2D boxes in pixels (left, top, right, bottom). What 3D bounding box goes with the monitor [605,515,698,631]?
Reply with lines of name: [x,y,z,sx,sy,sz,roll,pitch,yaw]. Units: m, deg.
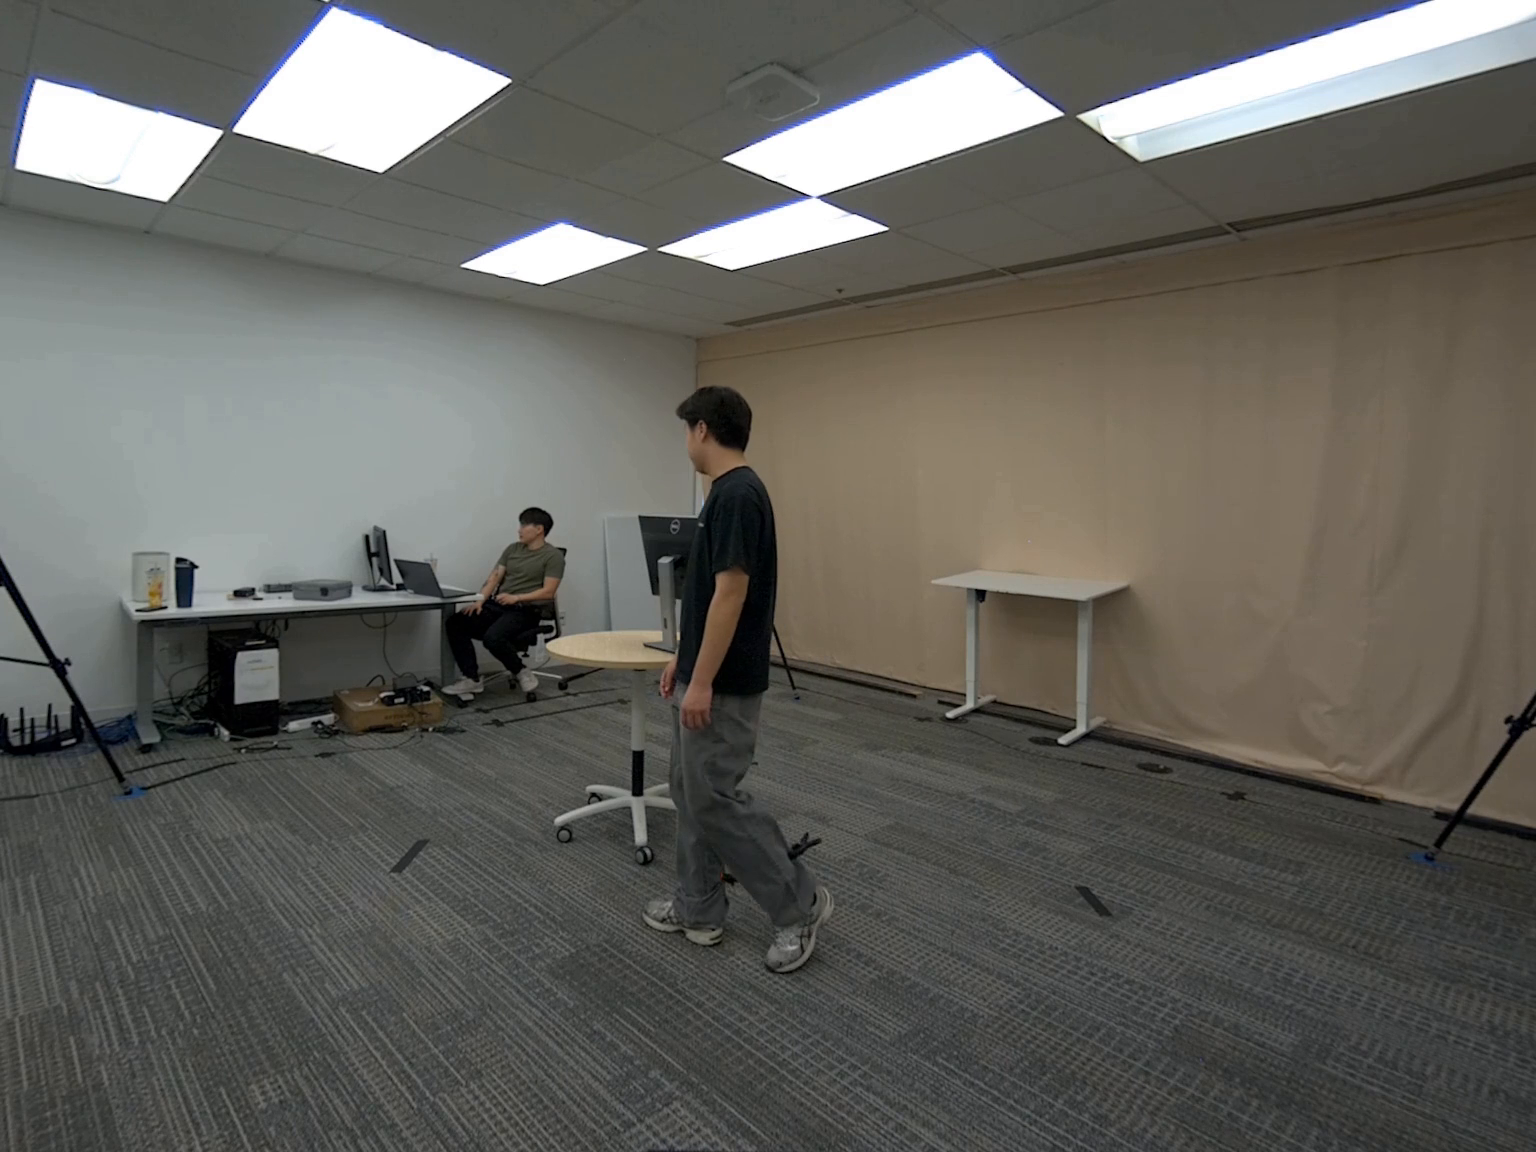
monitor: [-0.381,0.030,3.401,0.206,0.550,0.580,-10,11,-42]
